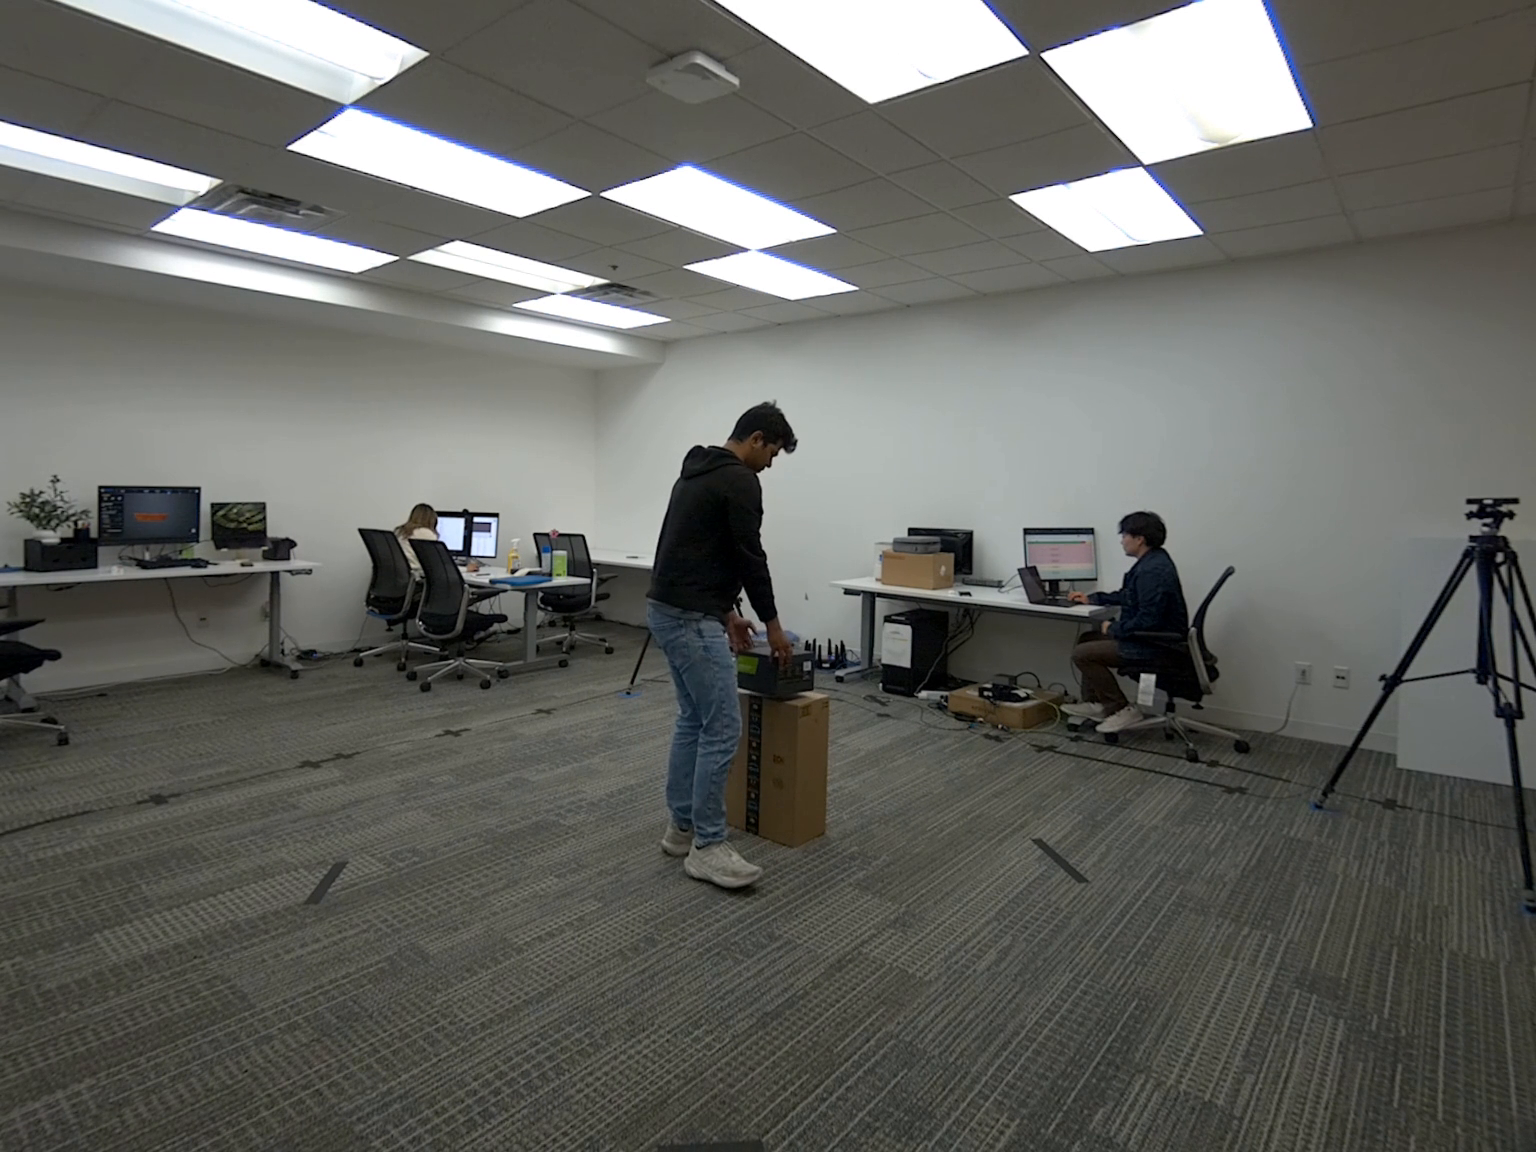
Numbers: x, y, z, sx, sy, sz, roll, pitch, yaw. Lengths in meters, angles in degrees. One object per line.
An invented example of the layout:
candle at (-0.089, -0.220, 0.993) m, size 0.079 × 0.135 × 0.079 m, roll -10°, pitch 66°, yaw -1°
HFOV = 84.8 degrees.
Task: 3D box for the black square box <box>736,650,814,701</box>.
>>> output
black square box at (0.026, 0.377, 3.397) m, size 0.210 × 0.156 × 0.235 m, roll -2°, pitch 3°, yaw -41°
